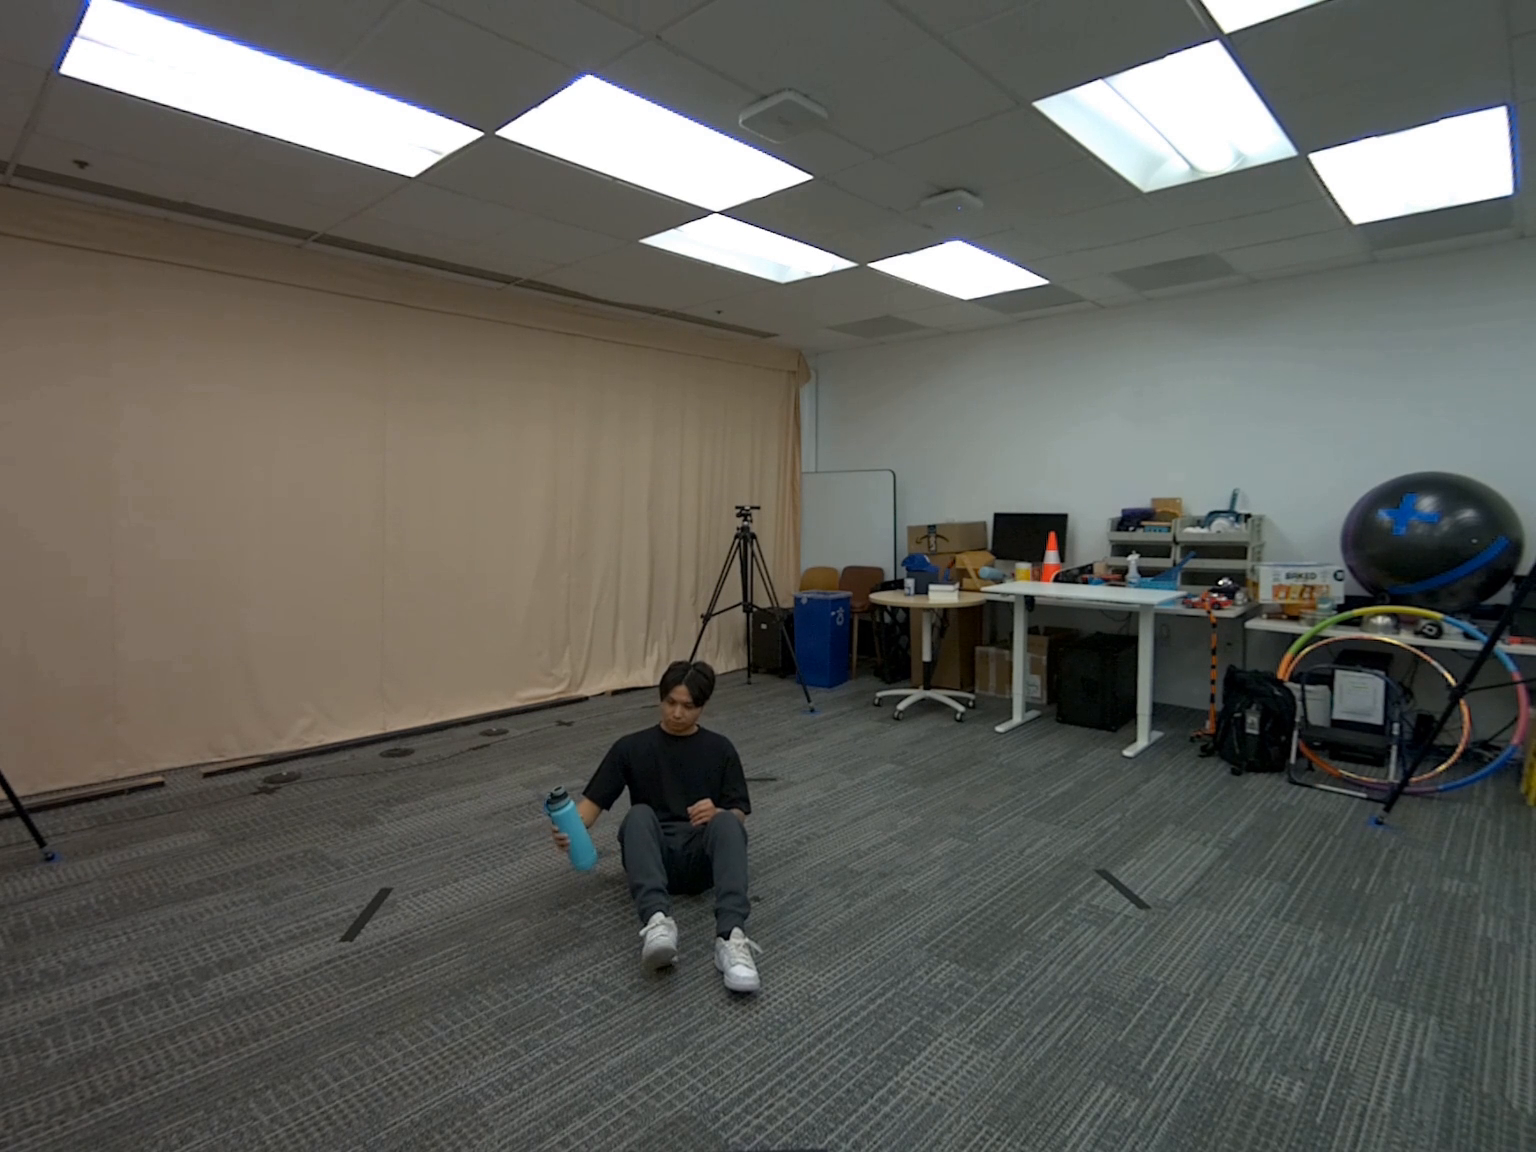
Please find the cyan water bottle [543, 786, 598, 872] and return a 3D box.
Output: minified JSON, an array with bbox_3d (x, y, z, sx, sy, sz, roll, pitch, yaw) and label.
[{"bbox_3d":[-0.656,0.832,2.789,0.093,0.279,0.093,-21,14,4],"label":"cyan water bottle"}]
